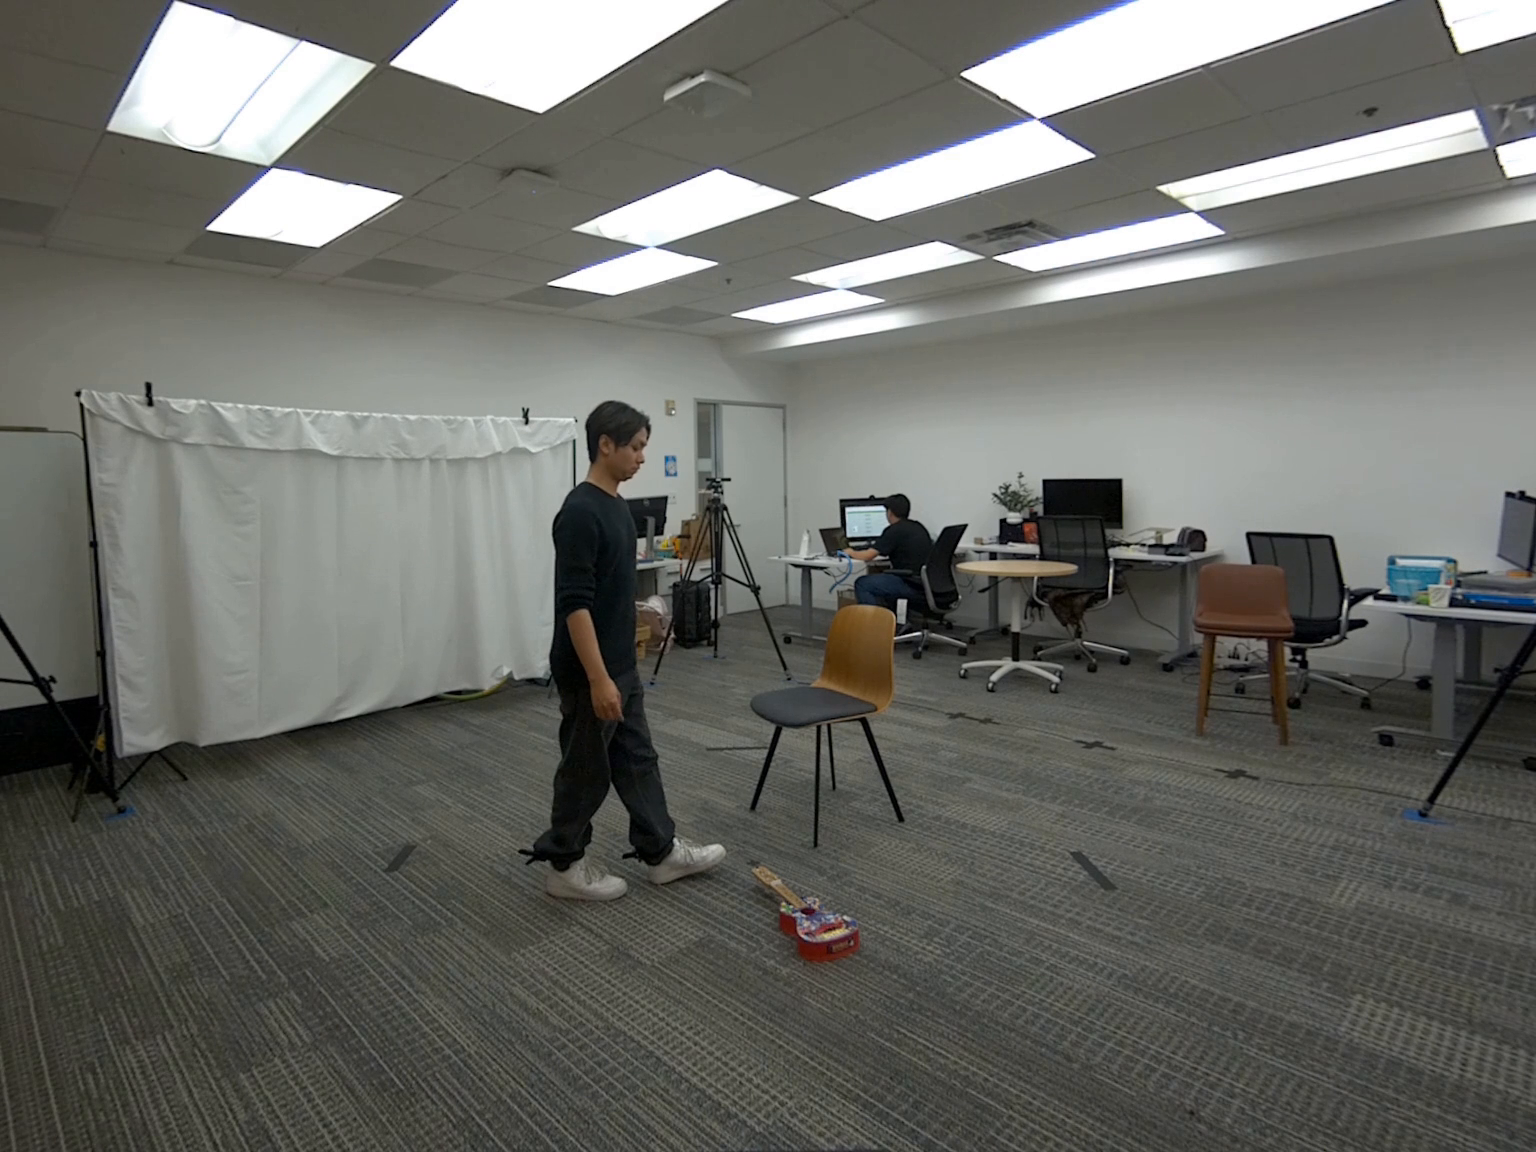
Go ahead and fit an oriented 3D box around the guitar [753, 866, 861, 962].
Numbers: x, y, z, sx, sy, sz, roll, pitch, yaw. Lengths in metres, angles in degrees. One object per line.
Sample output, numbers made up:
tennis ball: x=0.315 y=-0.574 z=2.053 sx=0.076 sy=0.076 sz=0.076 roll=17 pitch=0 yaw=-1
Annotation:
guitar: x=0.120 y=1.056 z=2.701 sx=0.190 sy=0.070 sz=0.508 roll=-3 pitch=7 yaw=-19
